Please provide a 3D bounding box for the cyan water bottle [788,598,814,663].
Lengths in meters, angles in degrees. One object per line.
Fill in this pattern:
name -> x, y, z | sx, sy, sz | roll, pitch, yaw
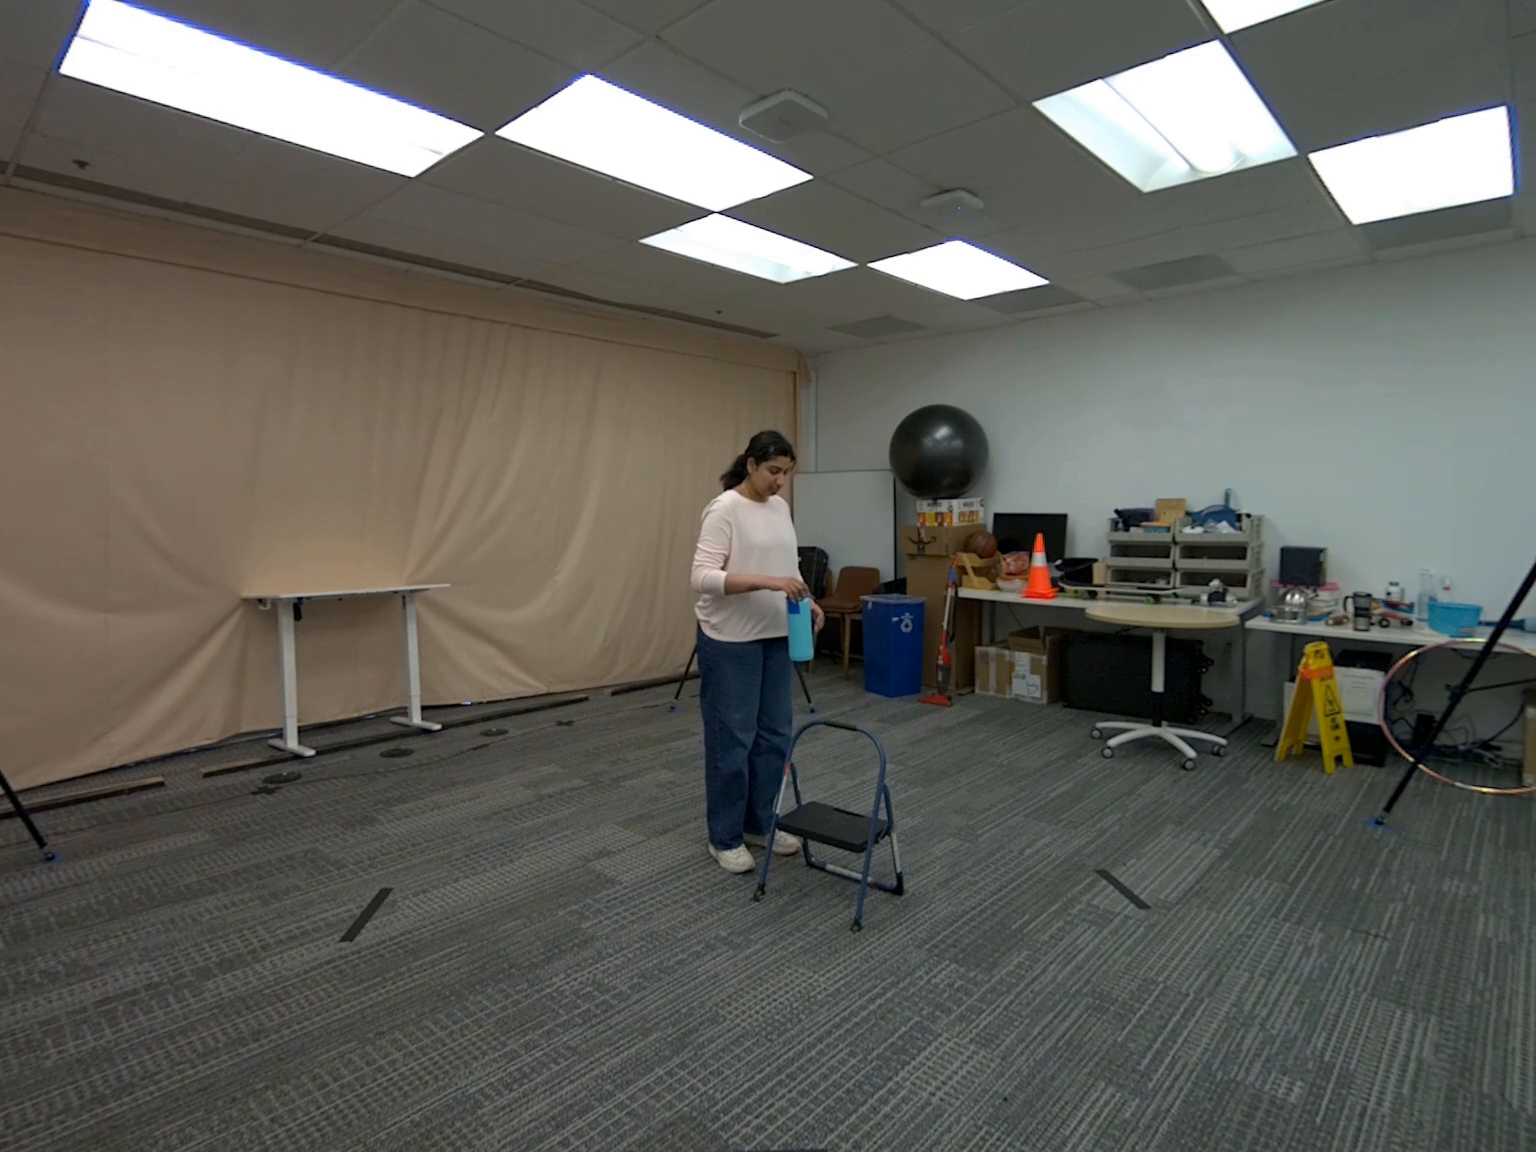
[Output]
cyan water bottle -> 0.118, 0.165, 3.096 | 0.092, 0.282, 0.093 | -2, 6, -2
